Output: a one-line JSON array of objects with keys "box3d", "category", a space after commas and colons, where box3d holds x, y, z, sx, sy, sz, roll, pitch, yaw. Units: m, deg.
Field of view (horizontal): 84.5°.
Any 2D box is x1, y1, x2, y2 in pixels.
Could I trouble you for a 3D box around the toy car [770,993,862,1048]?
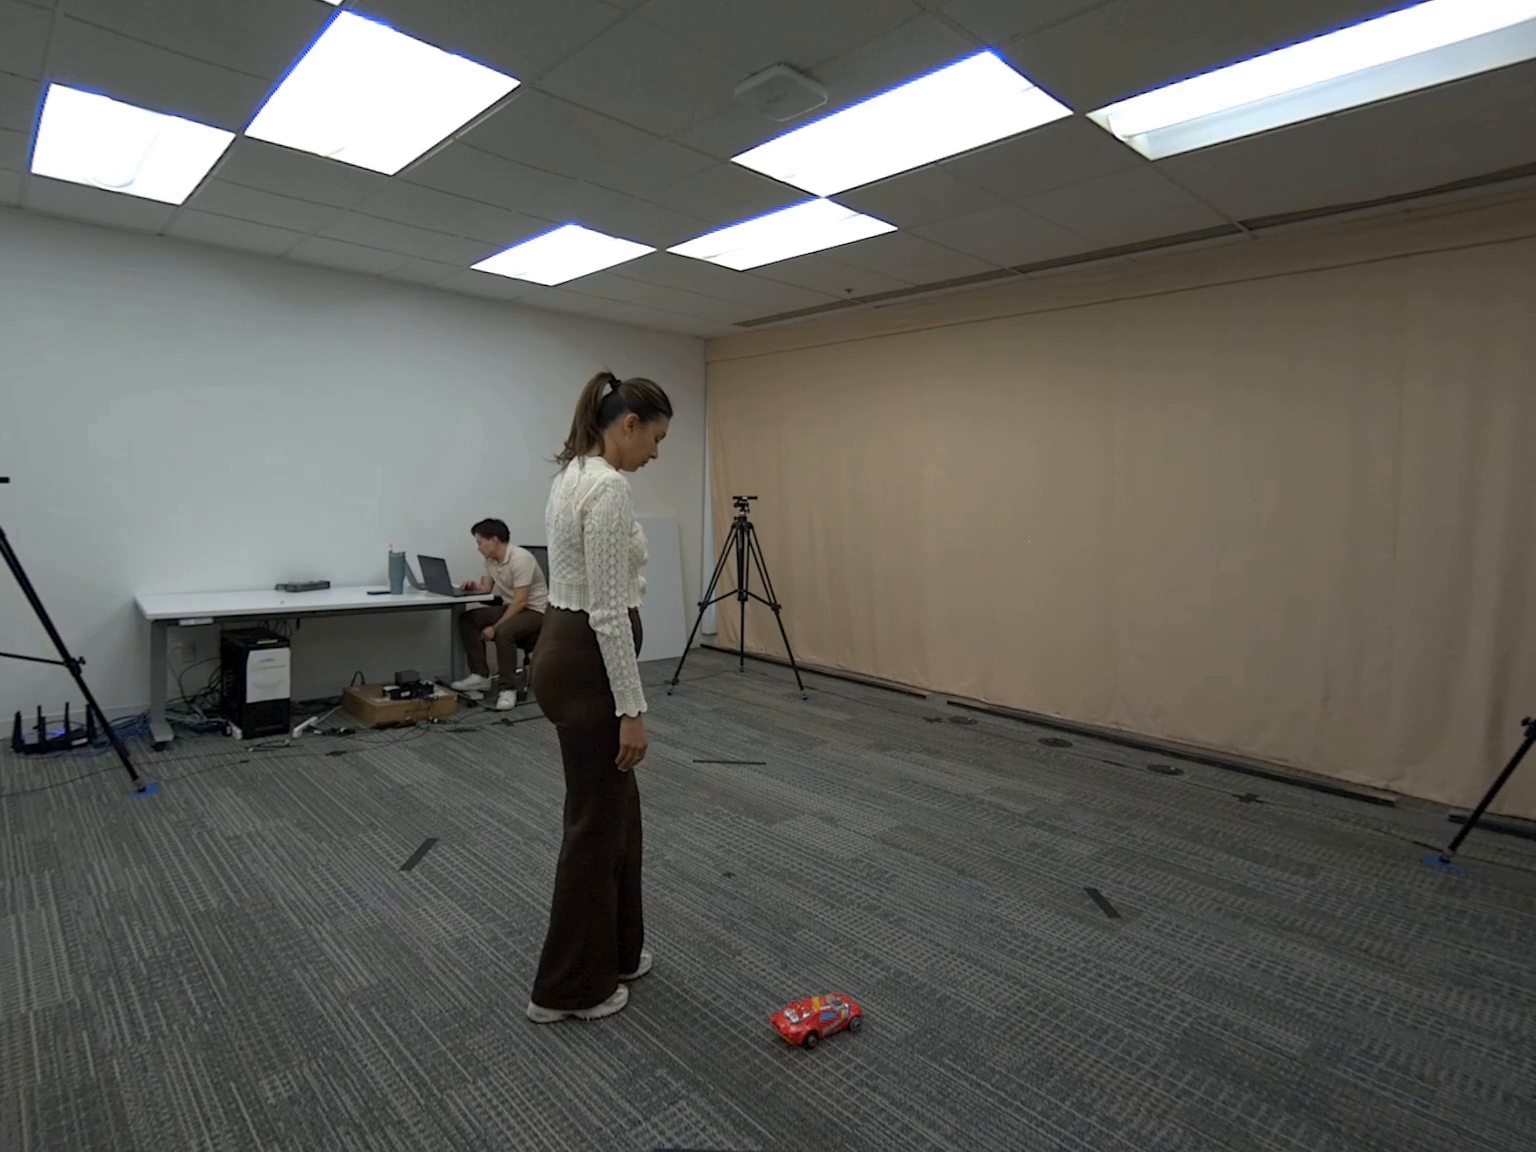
[{"box3d": [0.119, 1.163, 2.195, 0.248, 0.083, 0.133, 12, 0, -31], "category": "toy car"}]
